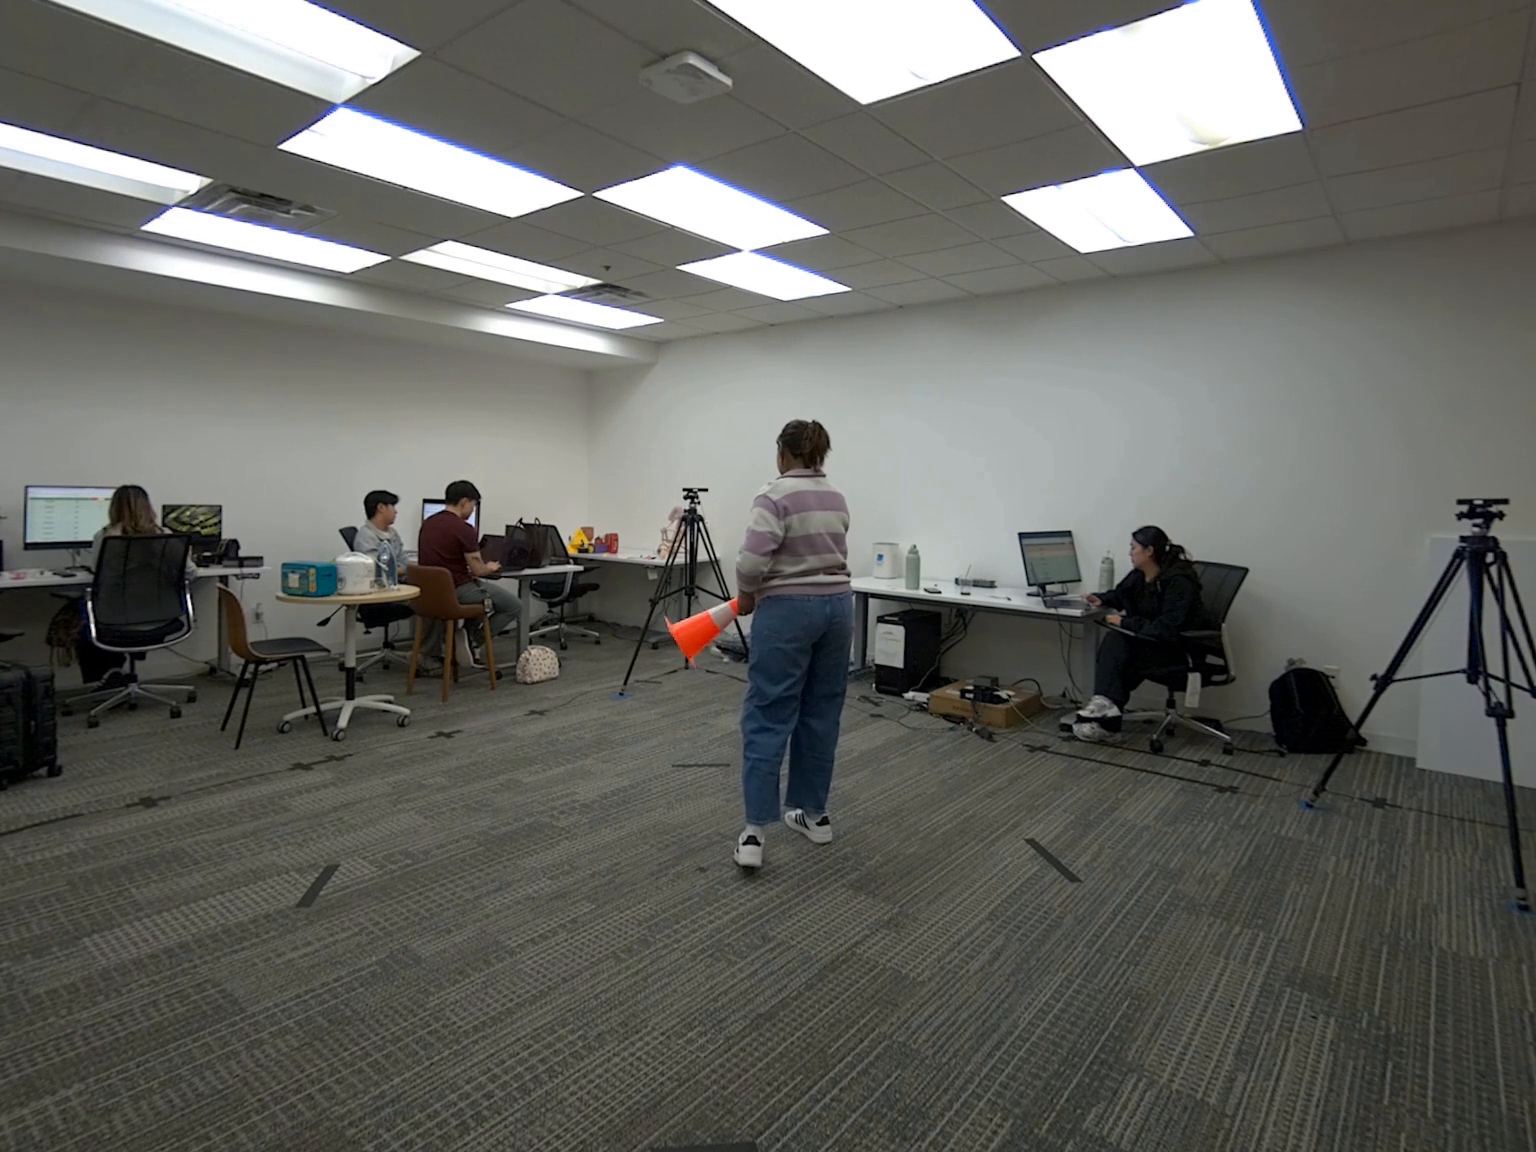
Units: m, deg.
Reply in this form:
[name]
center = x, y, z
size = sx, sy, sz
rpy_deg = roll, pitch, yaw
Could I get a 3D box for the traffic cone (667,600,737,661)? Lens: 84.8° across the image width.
[traffic cone]
center = -0.210, 0.170, 3.501
size = 0.384, 0.200, 0.208
rpy_deg = -32, 13, 0
